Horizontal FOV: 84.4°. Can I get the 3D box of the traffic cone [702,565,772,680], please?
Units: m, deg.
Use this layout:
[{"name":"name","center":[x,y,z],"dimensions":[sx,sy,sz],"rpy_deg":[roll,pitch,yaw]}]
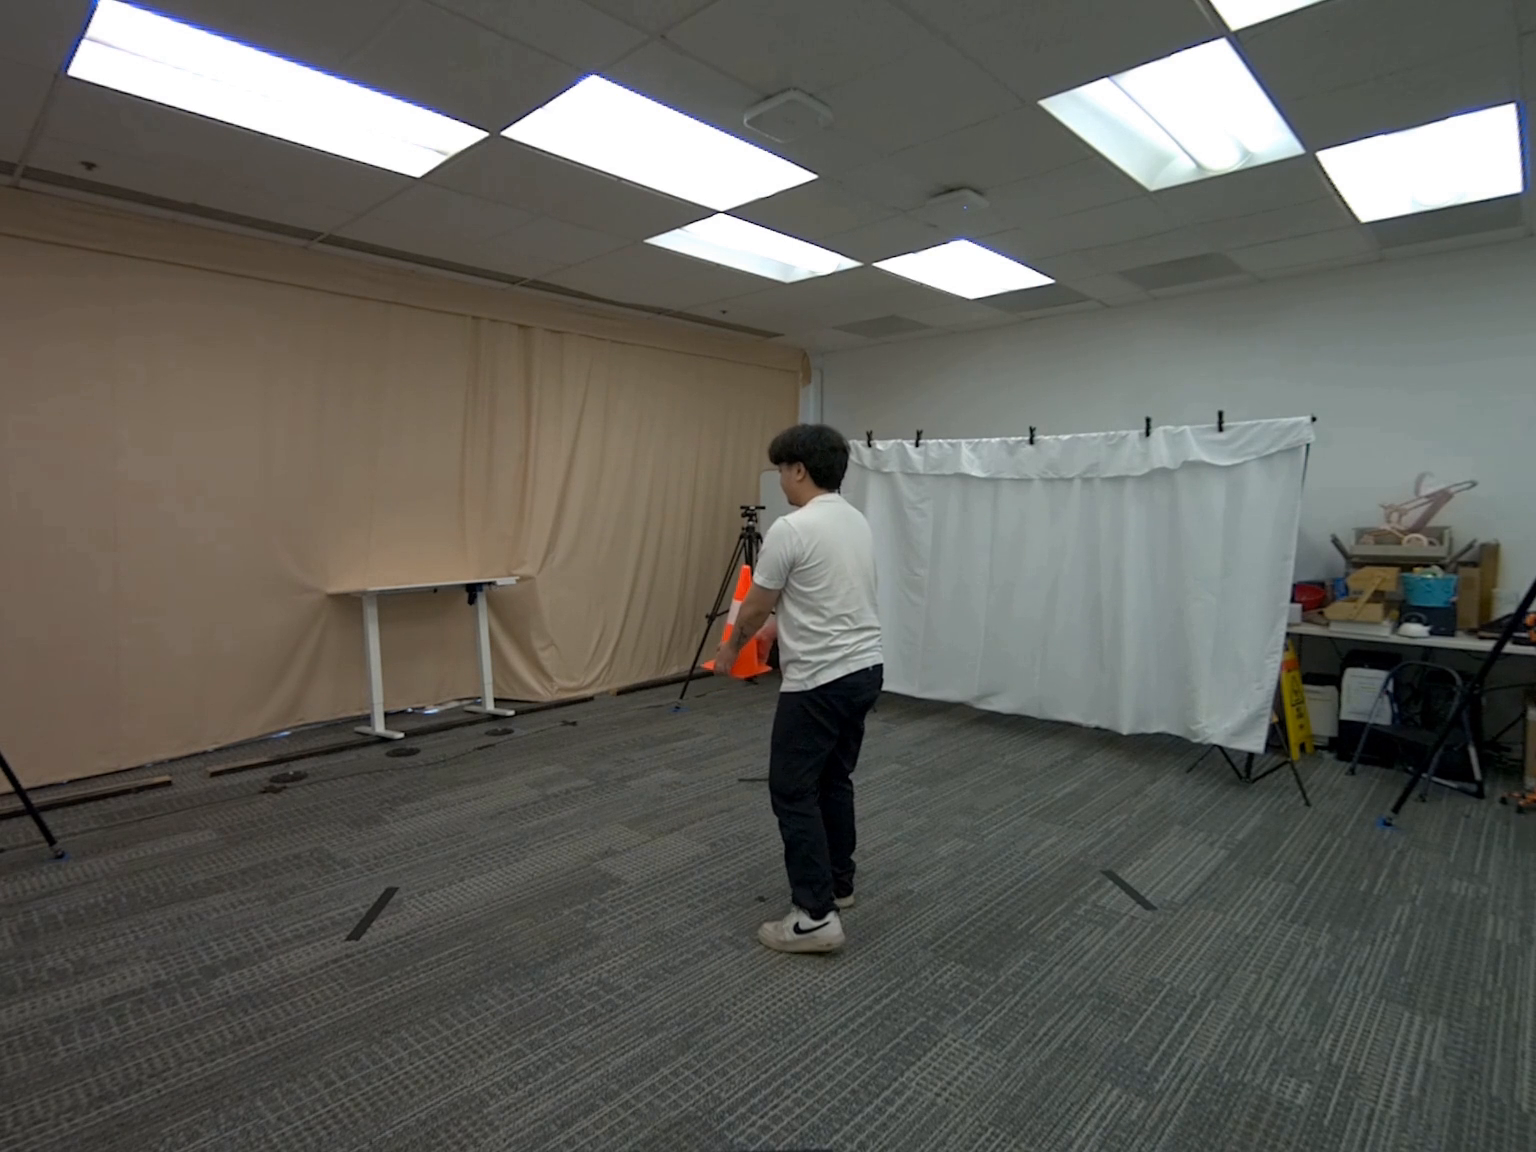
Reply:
[{"name":"traffic cone","center":[-0.096,0.156,3.065],"dimensions":[0.210,0.381,0.199],"rpy_deg":[13,13,31]}]
